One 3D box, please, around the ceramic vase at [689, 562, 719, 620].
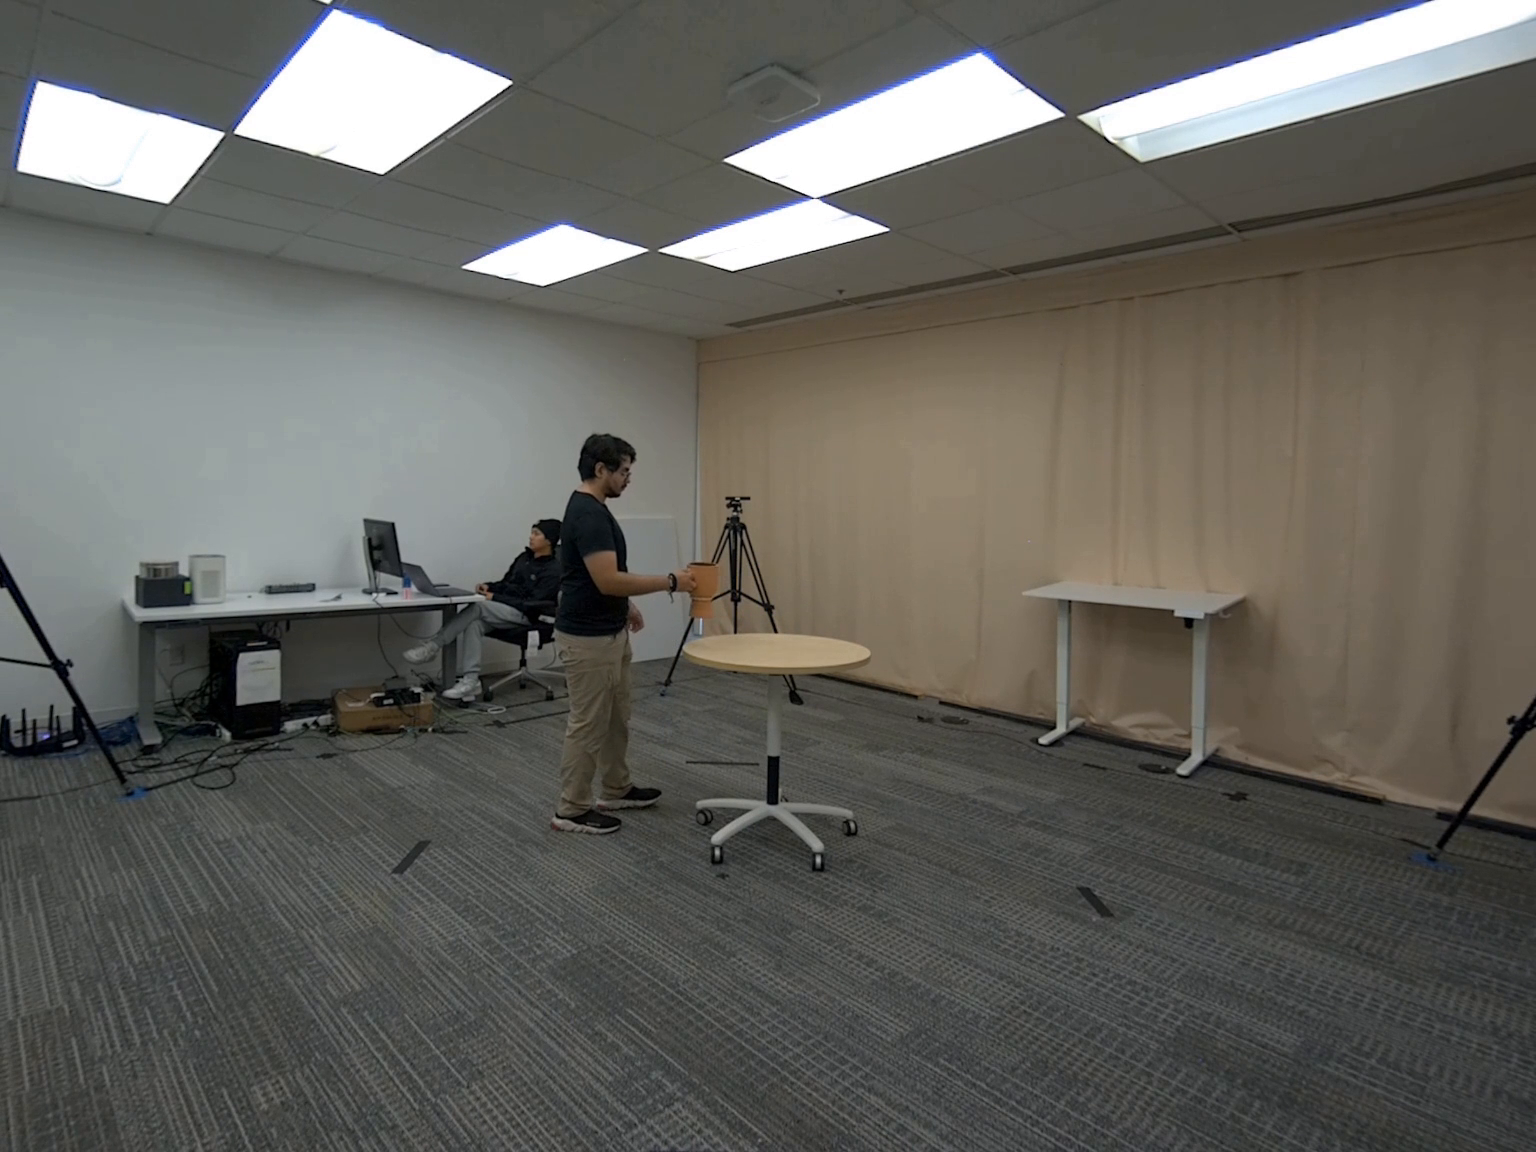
[{"bbox_3d":[-0.290,0.061,3.504,0.156,0.219,0.137,2,7,-19],"label":"ceramic vase"}]
